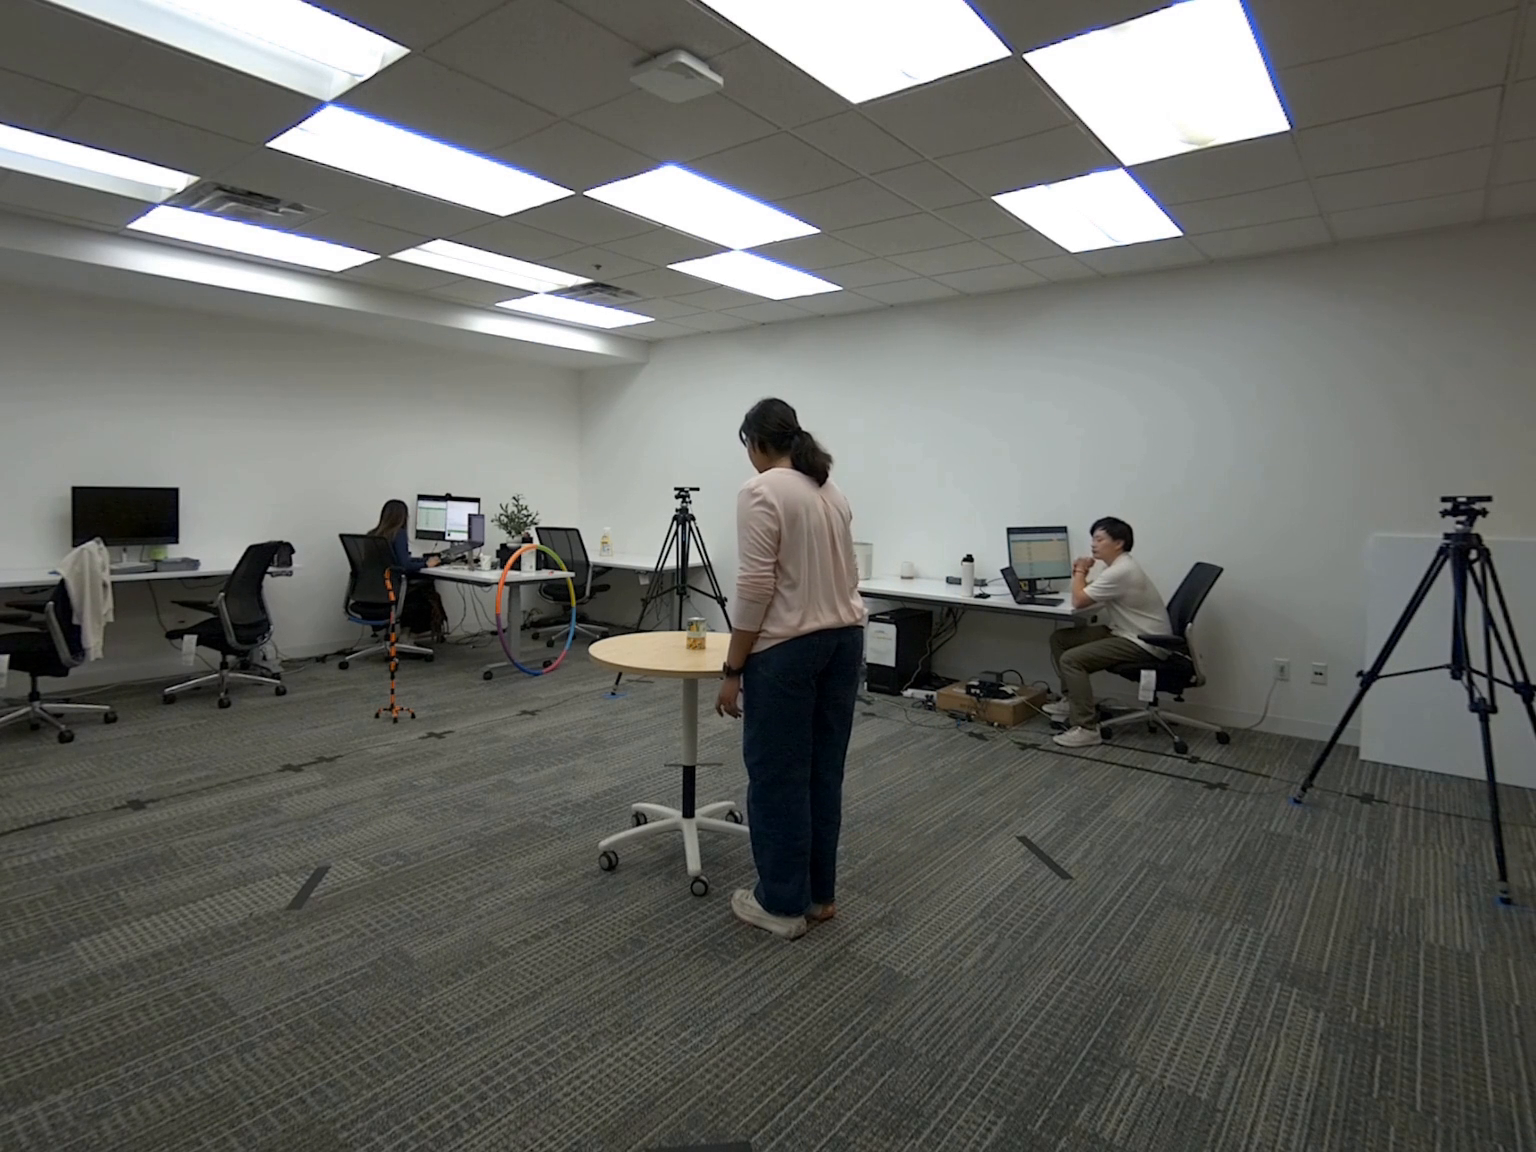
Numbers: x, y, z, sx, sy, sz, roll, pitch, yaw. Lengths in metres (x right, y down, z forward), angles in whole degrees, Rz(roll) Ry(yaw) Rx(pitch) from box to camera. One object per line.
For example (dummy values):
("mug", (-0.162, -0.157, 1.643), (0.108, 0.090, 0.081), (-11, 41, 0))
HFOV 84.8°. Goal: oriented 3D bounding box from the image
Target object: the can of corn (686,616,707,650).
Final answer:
("can of corn", (-0.282, 0.217, 3.217), (0.074, 0.111, 0.074), (0, 3, -2))
